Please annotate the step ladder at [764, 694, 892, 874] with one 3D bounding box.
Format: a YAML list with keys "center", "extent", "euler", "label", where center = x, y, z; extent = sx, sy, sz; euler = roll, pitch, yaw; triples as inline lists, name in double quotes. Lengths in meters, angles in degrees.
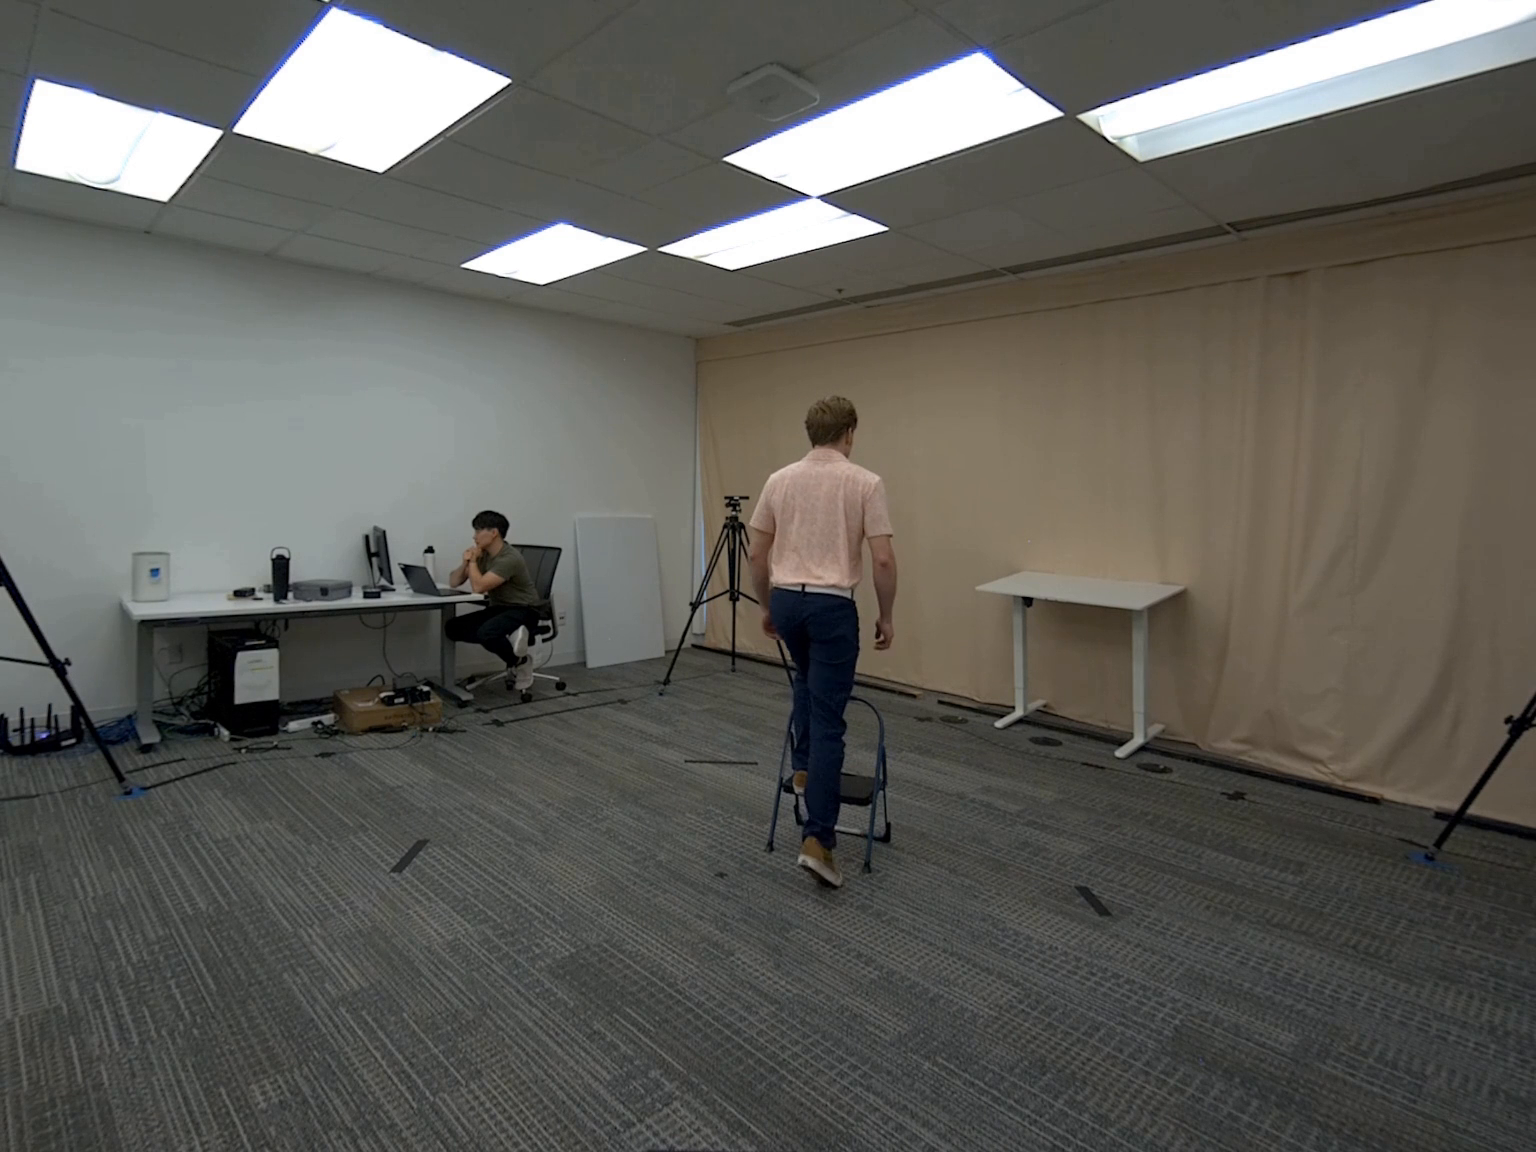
- center: [0.256, 0.786, 3.380]
  extent: [0.439, 0.605, 0.343]
  euler: [4, 3, 24]
  label: "step ladder"
